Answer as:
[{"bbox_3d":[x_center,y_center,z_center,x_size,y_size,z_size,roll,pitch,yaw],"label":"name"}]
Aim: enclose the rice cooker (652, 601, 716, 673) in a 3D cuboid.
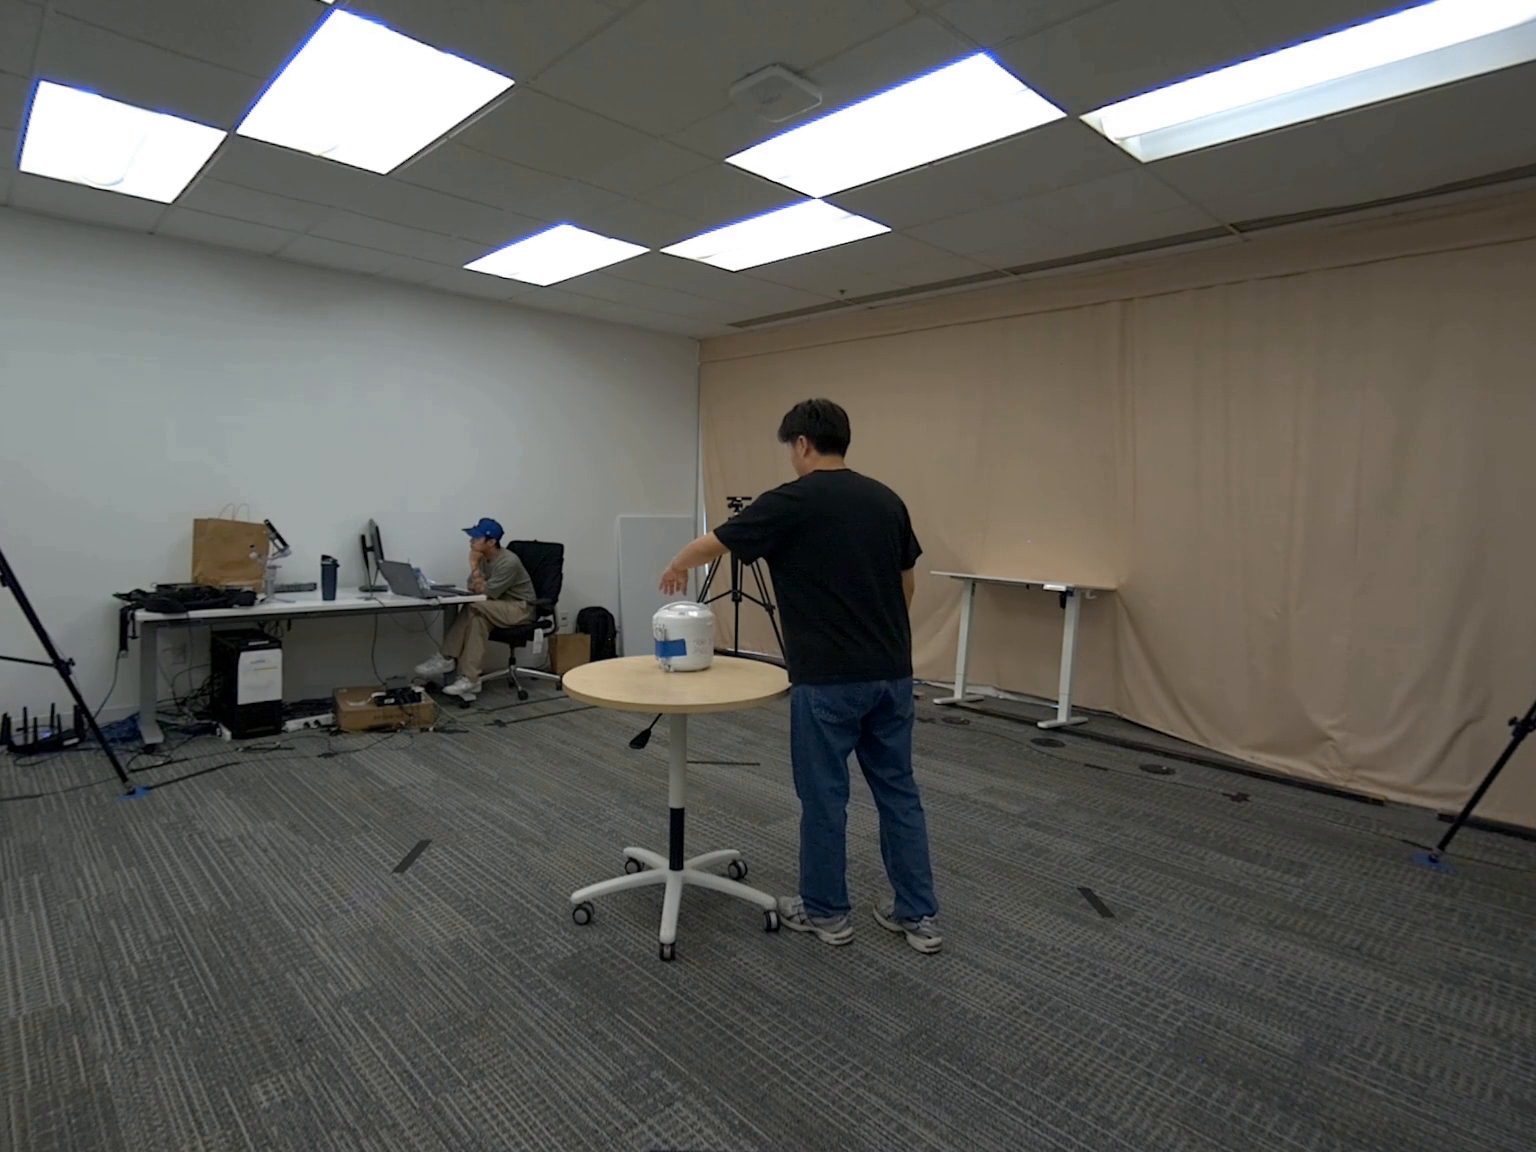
[{"bbox_3d":[-0.299,0.204,2.952,0.219,0.232,0.220,0,5,-10],"label":"rice cooker"}]
